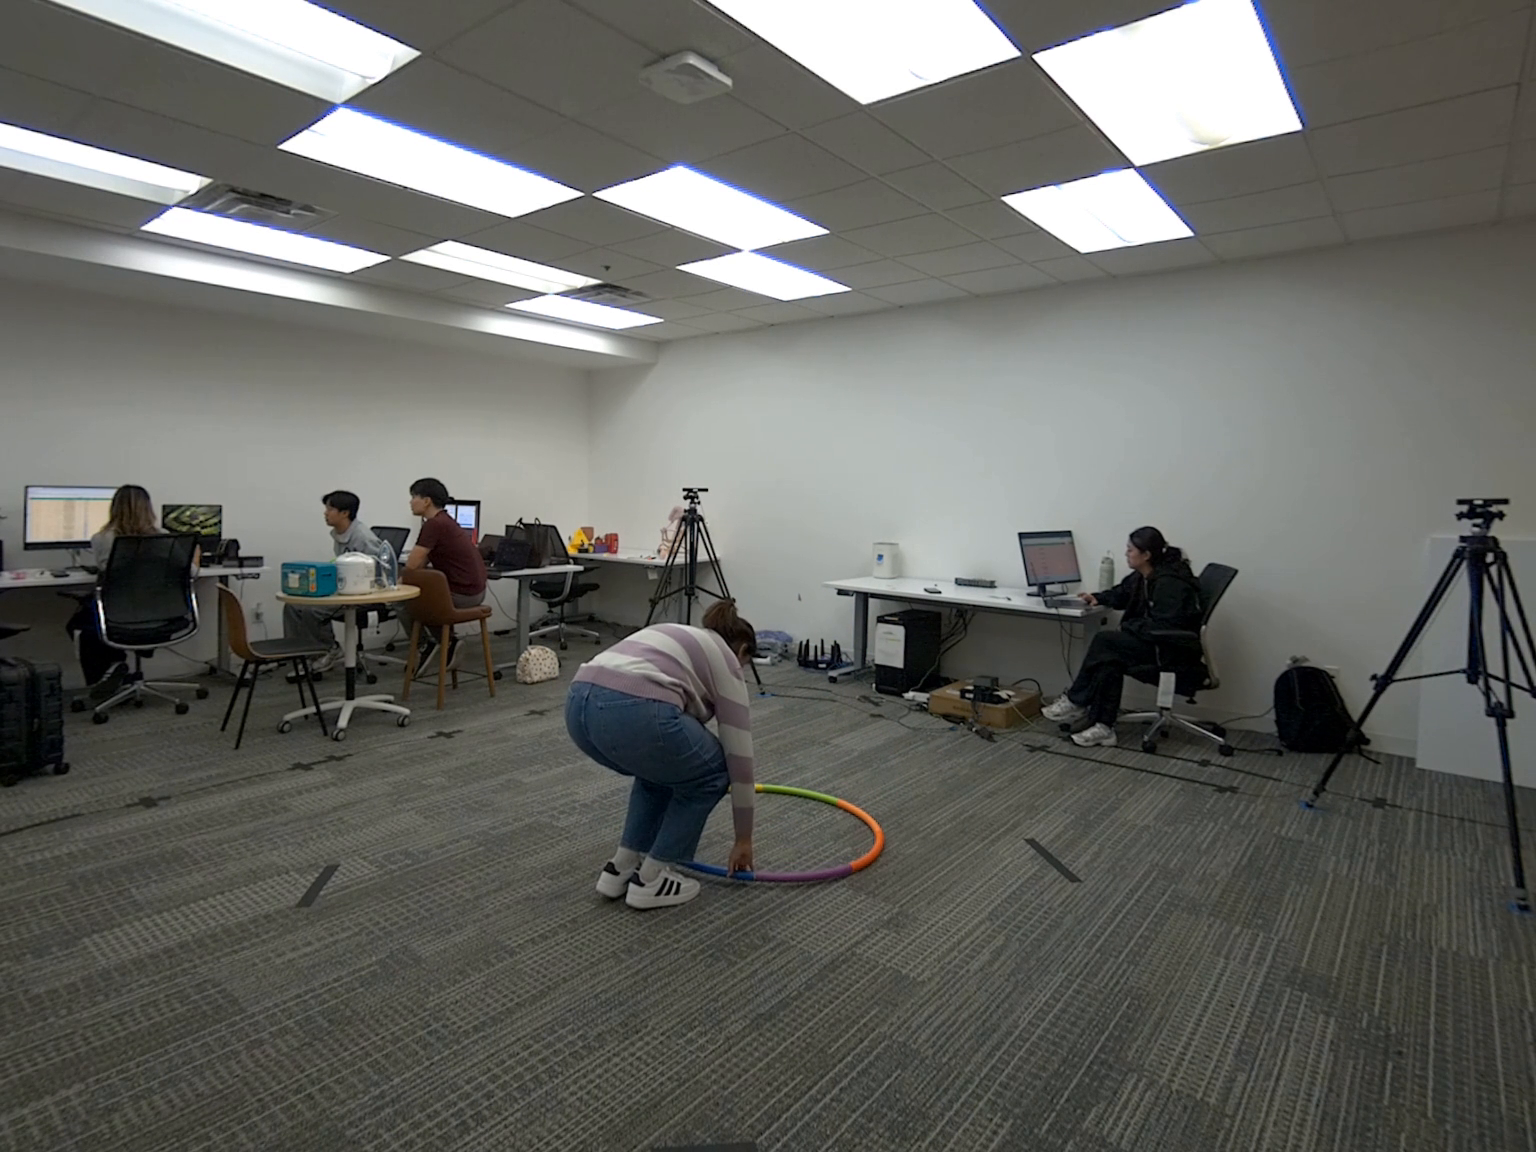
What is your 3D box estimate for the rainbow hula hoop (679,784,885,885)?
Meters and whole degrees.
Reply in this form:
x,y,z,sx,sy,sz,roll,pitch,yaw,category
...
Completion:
x,y,z,sx,sy,sz,roll,pitch,yaw,category
-0.039,1.004,3.452,0.978,0.035,0.983,2,5,-2,rainbow hula hoop
